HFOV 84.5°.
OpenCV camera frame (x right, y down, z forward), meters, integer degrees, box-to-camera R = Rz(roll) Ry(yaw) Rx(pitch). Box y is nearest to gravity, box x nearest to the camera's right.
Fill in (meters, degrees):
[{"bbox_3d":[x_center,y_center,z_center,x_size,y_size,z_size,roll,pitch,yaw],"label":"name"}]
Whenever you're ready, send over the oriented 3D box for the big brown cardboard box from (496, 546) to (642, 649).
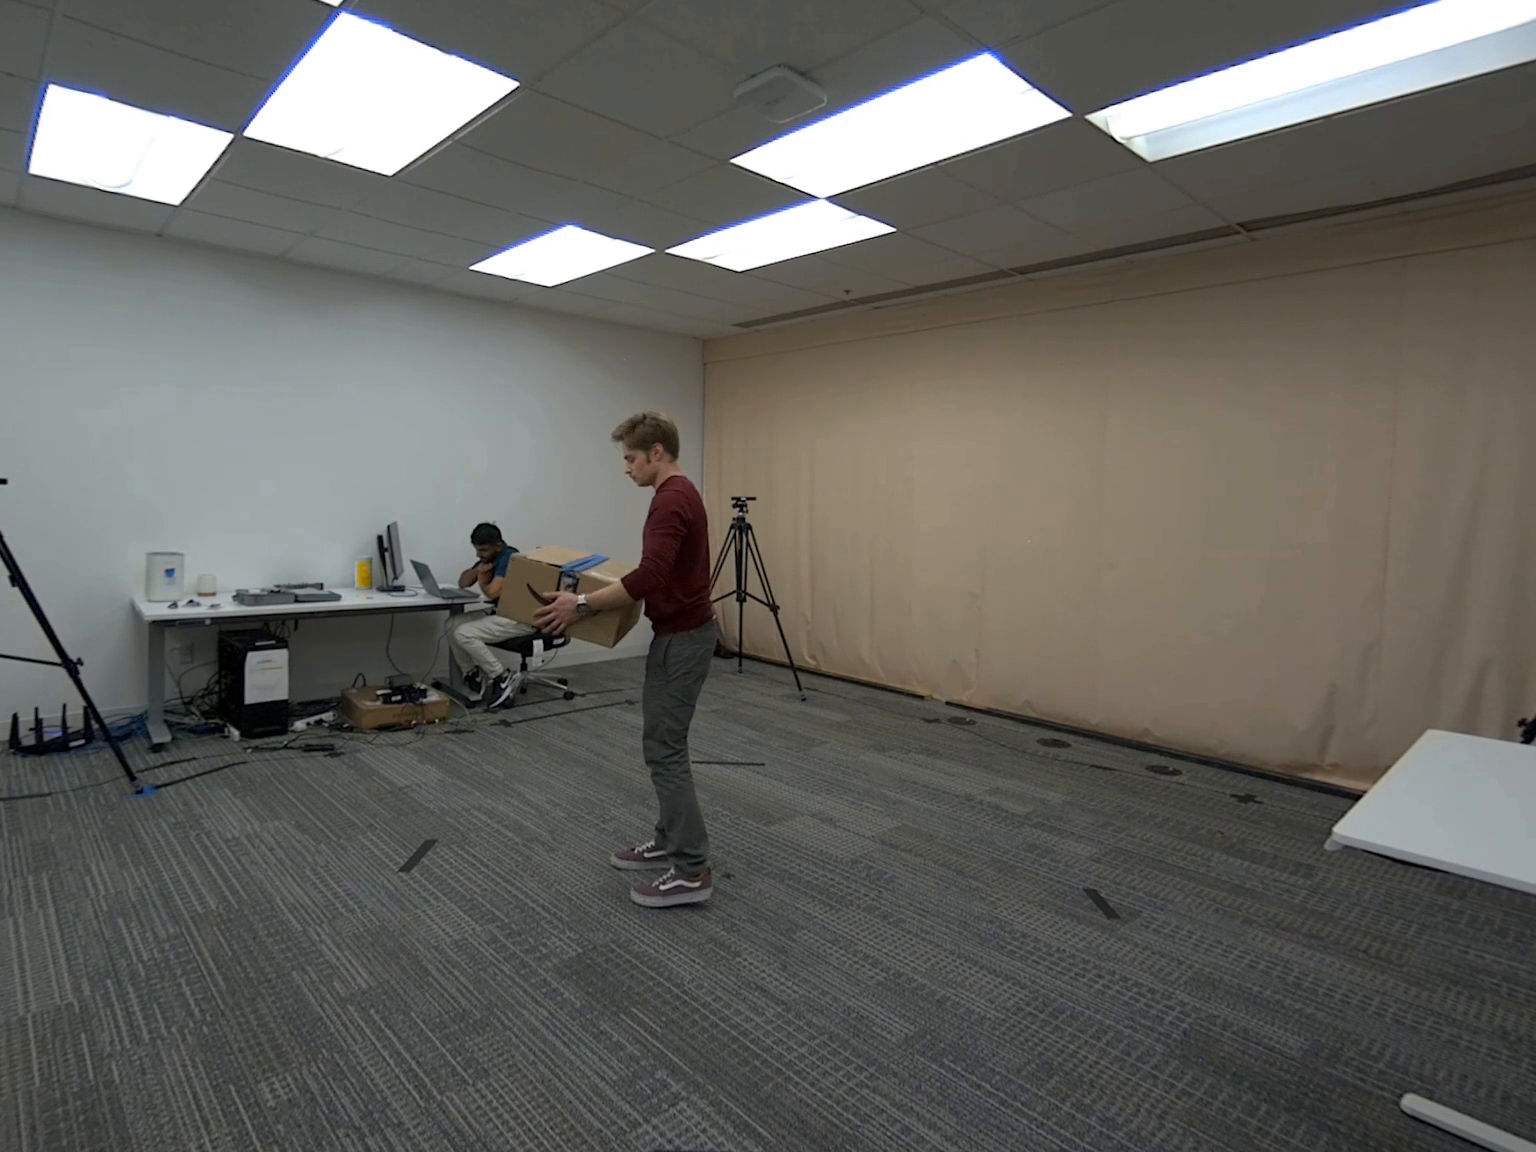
[{"bbox_3d":[-0.688,0.055,3.089,0.417,0.232,0.591,14,5,-2],"label":"big brown cardboard box"}]
